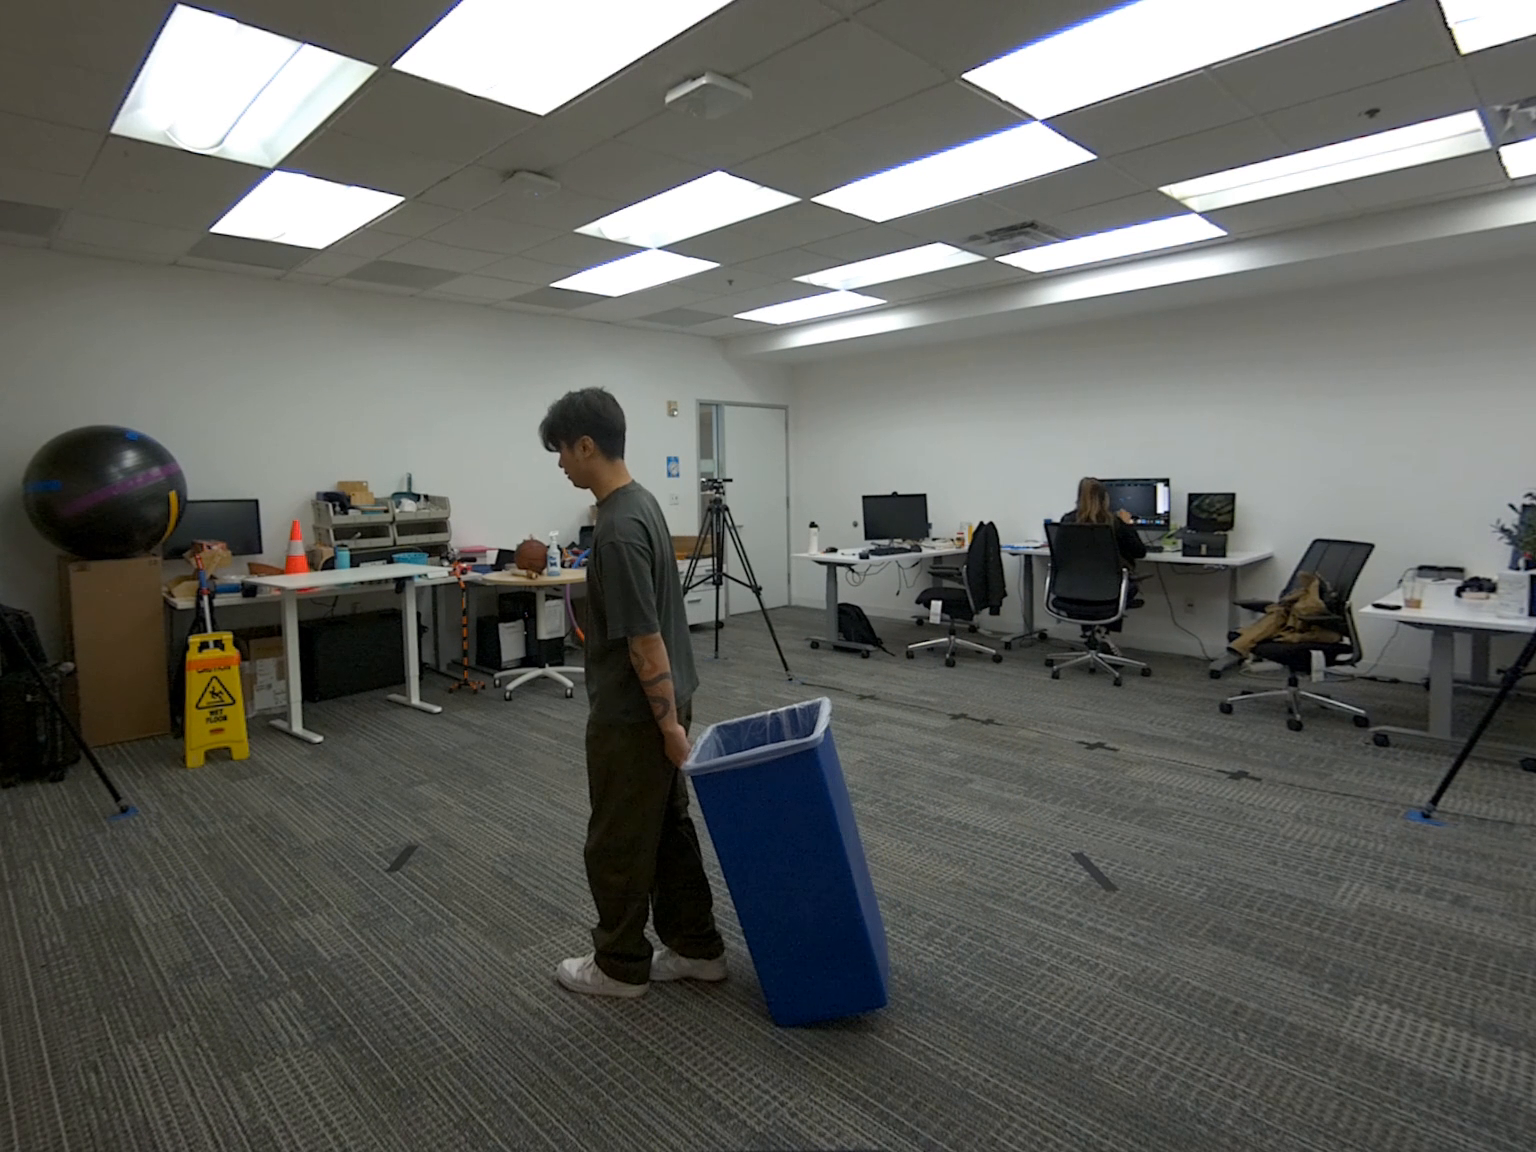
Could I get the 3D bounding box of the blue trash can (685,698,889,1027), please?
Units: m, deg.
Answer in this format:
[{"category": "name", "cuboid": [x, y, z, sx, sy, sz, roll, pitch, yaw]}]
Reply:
[{"category": "blue trash can", "cuboid": [0.075, 0.751, 2.282, 0.381, 0.713, 0.372, -16, 1, 10]}]
